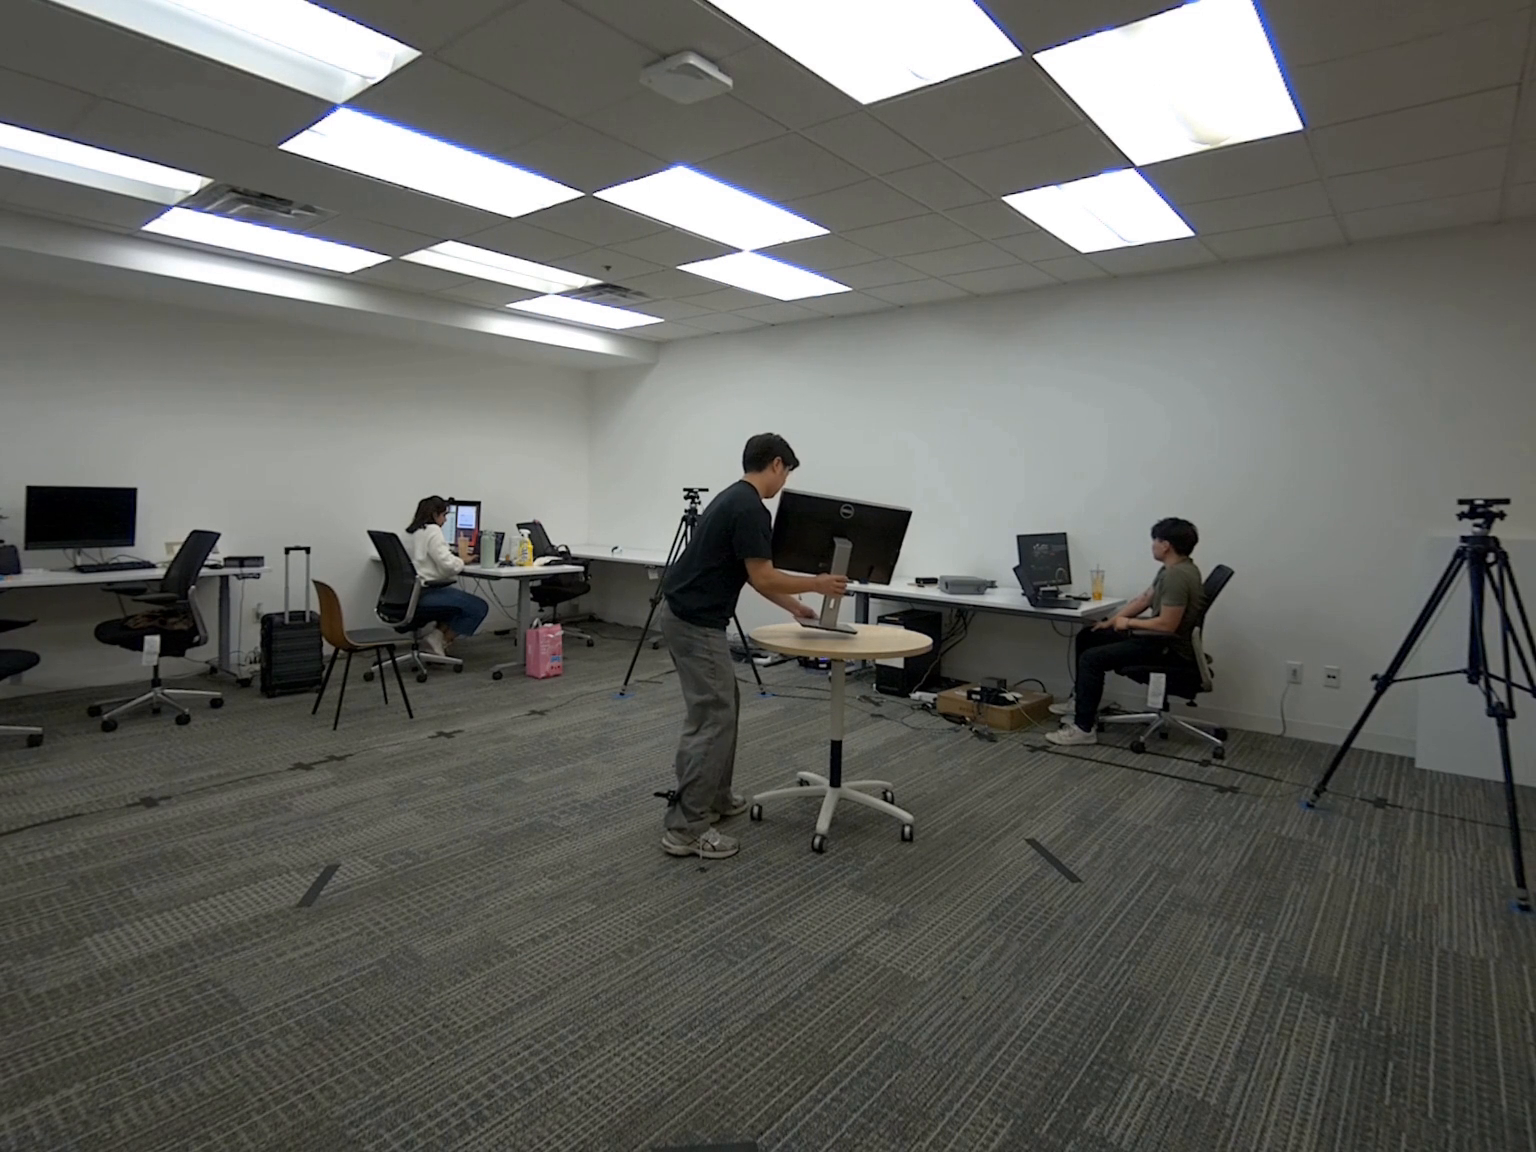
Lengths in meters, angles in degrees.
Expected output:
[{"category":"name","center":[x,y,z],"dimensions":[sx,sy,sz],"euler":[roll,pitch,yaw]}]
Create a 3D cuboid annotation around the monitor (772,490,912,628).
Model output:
[{"category":"monitor","center":[0.268,-0.053,3.564],"dimensions":[0.558,0.563,0.224],"euler":[10,5,-5]}]
